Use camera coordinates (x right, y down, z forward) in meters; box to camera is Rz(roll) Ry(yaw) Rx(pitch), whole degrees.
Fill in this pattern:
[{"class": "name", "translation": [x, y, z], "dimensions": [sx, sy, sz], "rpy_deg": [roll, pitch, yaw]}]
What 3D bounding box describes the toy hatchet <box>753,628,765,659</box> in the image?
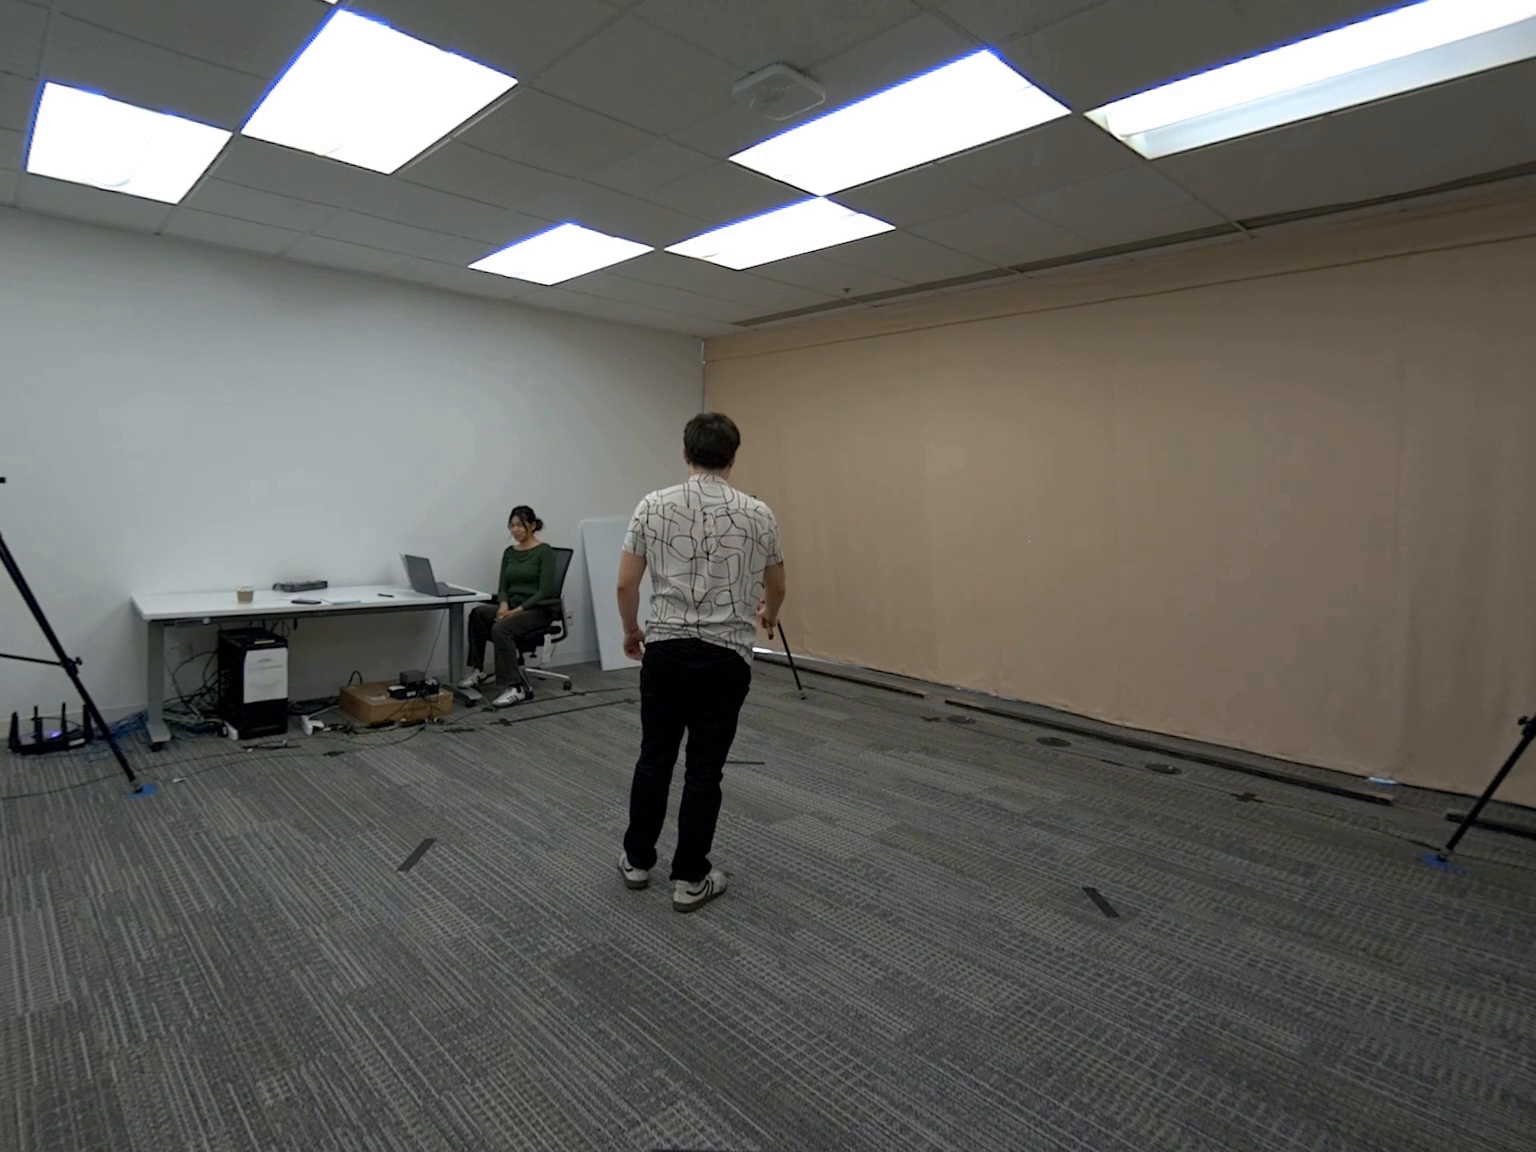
[{"class": "toy hatchet", "translation": [-0.042, 0.177, 3.332], "dimensions": [0.029, 0.128, 0.276], "rpy_deg": [3, 39, -6]}]
